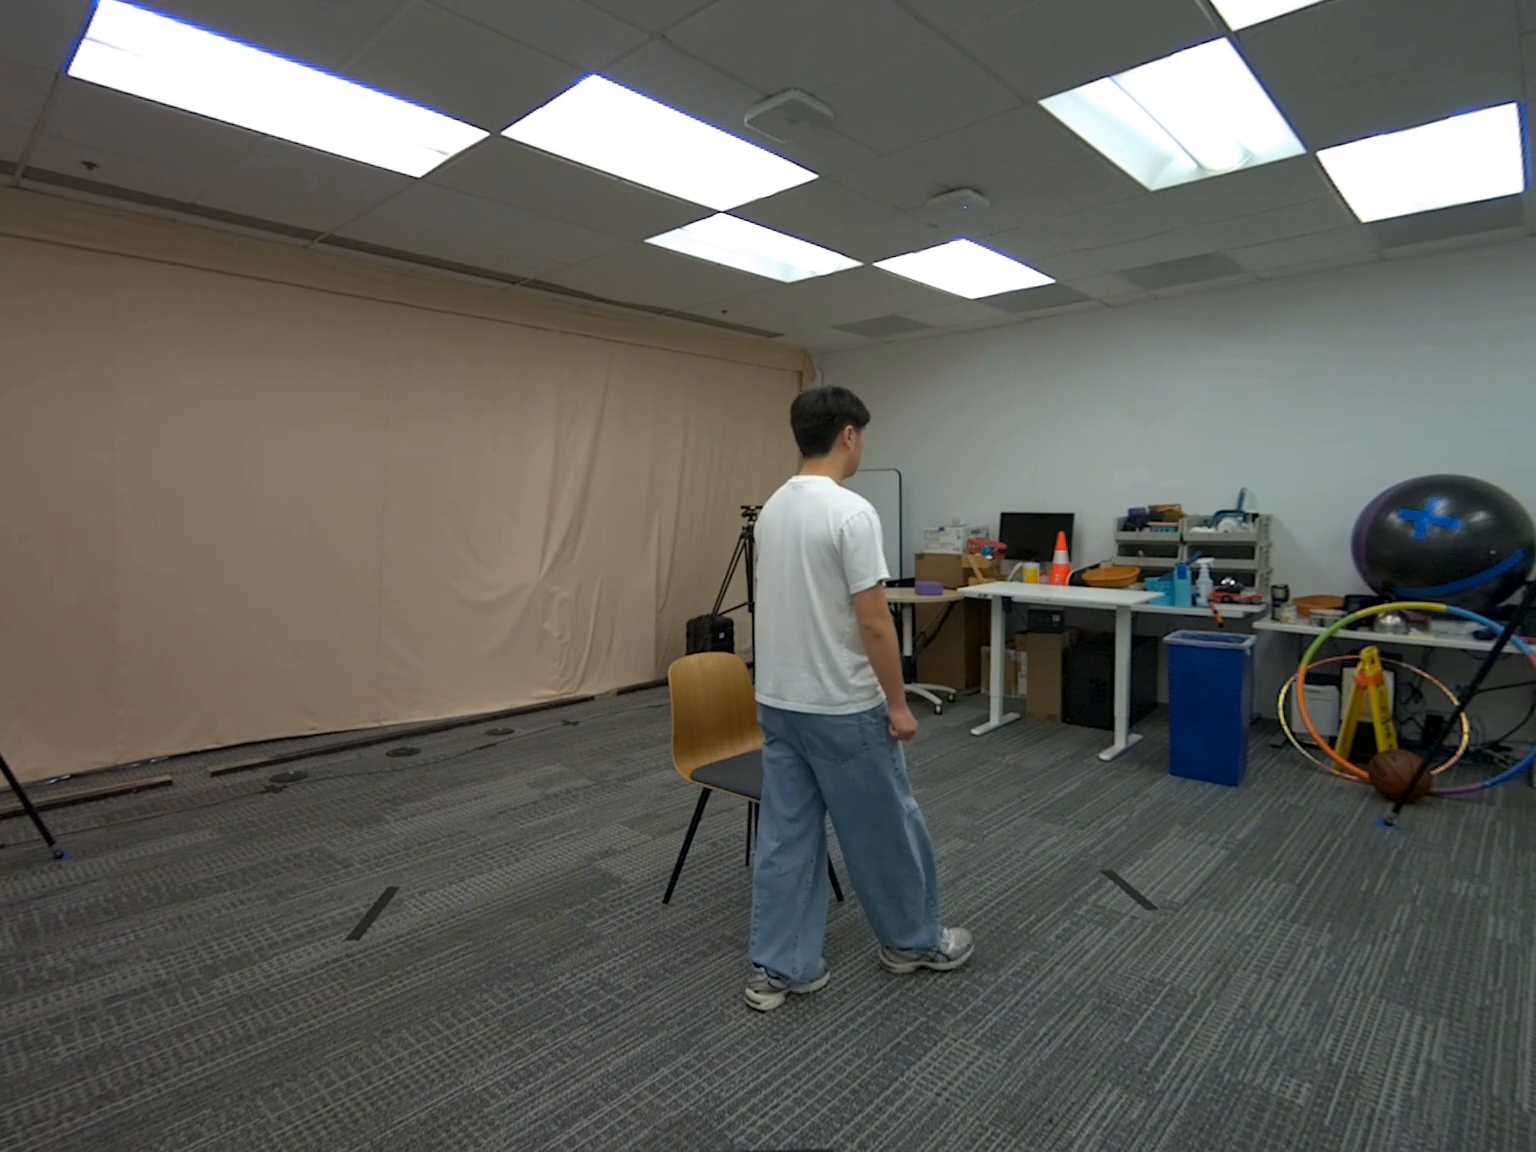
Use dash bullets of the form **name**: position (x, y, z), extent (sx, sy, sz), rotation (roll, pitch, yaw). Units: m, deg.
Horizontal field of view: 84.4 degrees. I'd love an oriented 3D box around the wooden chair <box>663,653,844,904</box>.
- **wooden chair**: position (-0.046, 0.722, 2.919), extent (0.539, 0.877, 0.463), rotation (-3, 0, 42)
